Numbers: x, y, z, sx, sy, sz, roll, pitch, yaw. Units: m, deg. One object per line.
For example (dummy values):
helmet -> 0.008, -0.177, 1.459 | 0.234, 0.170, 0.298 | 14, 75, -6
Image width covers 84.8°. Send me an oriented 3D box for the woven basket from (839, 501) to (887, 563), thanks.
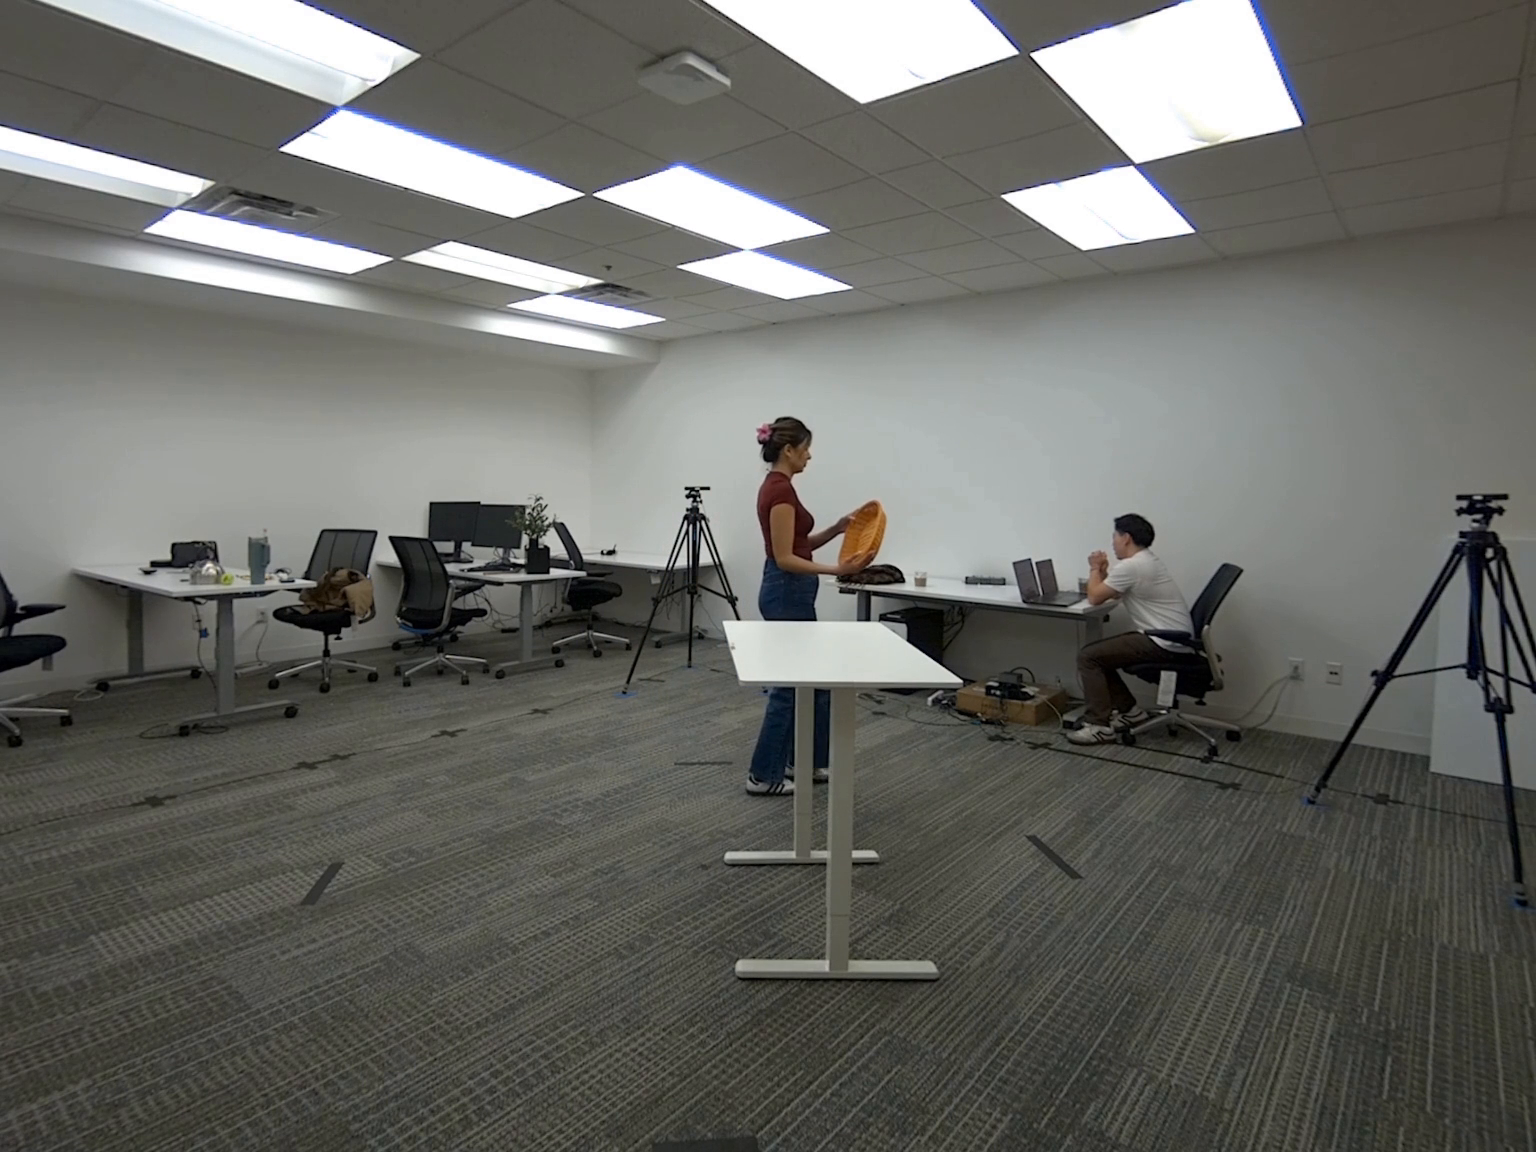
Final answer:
woven basket -> 0.408, -0.164, 3.666 | 0.072, 0.354, 0.256 | 31, -26, -20
